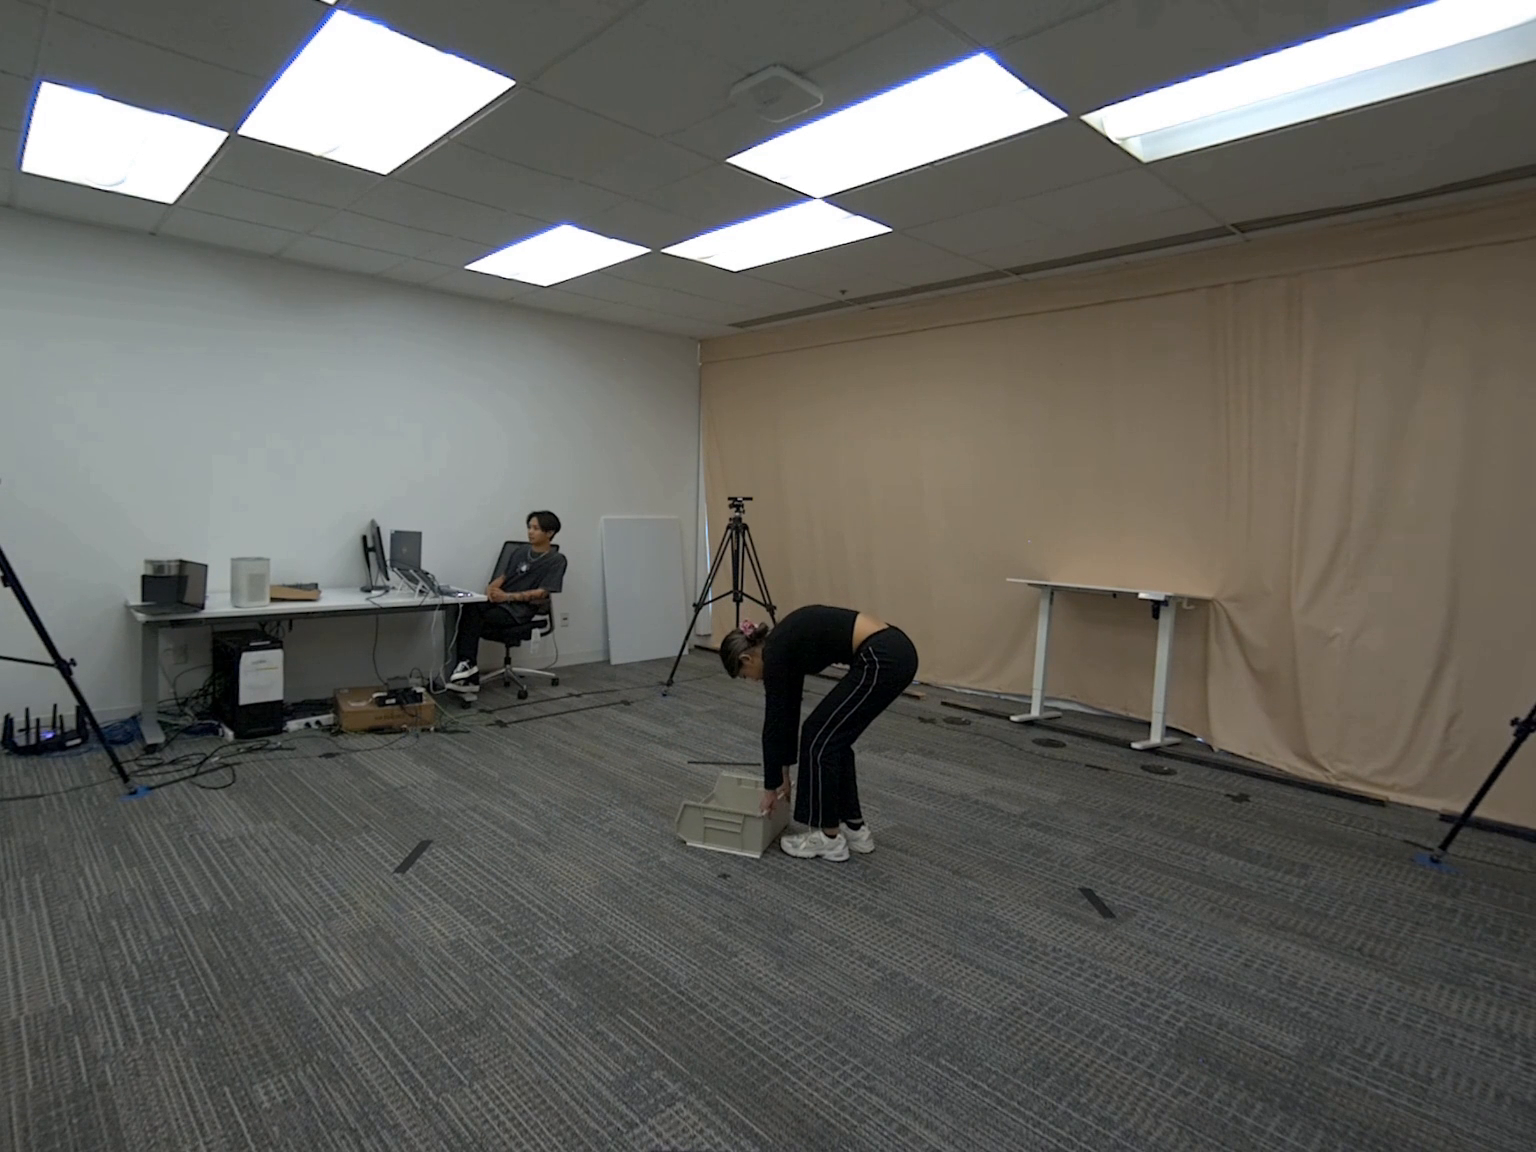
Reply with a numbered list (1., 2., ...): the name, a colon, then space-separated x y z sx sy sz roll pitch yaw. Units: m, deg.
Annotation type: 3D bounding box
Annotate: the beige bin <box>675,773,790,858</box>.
1. beige bin: -0.136 0.984 3.510 0.383 0.188 0.417 4 4 19
